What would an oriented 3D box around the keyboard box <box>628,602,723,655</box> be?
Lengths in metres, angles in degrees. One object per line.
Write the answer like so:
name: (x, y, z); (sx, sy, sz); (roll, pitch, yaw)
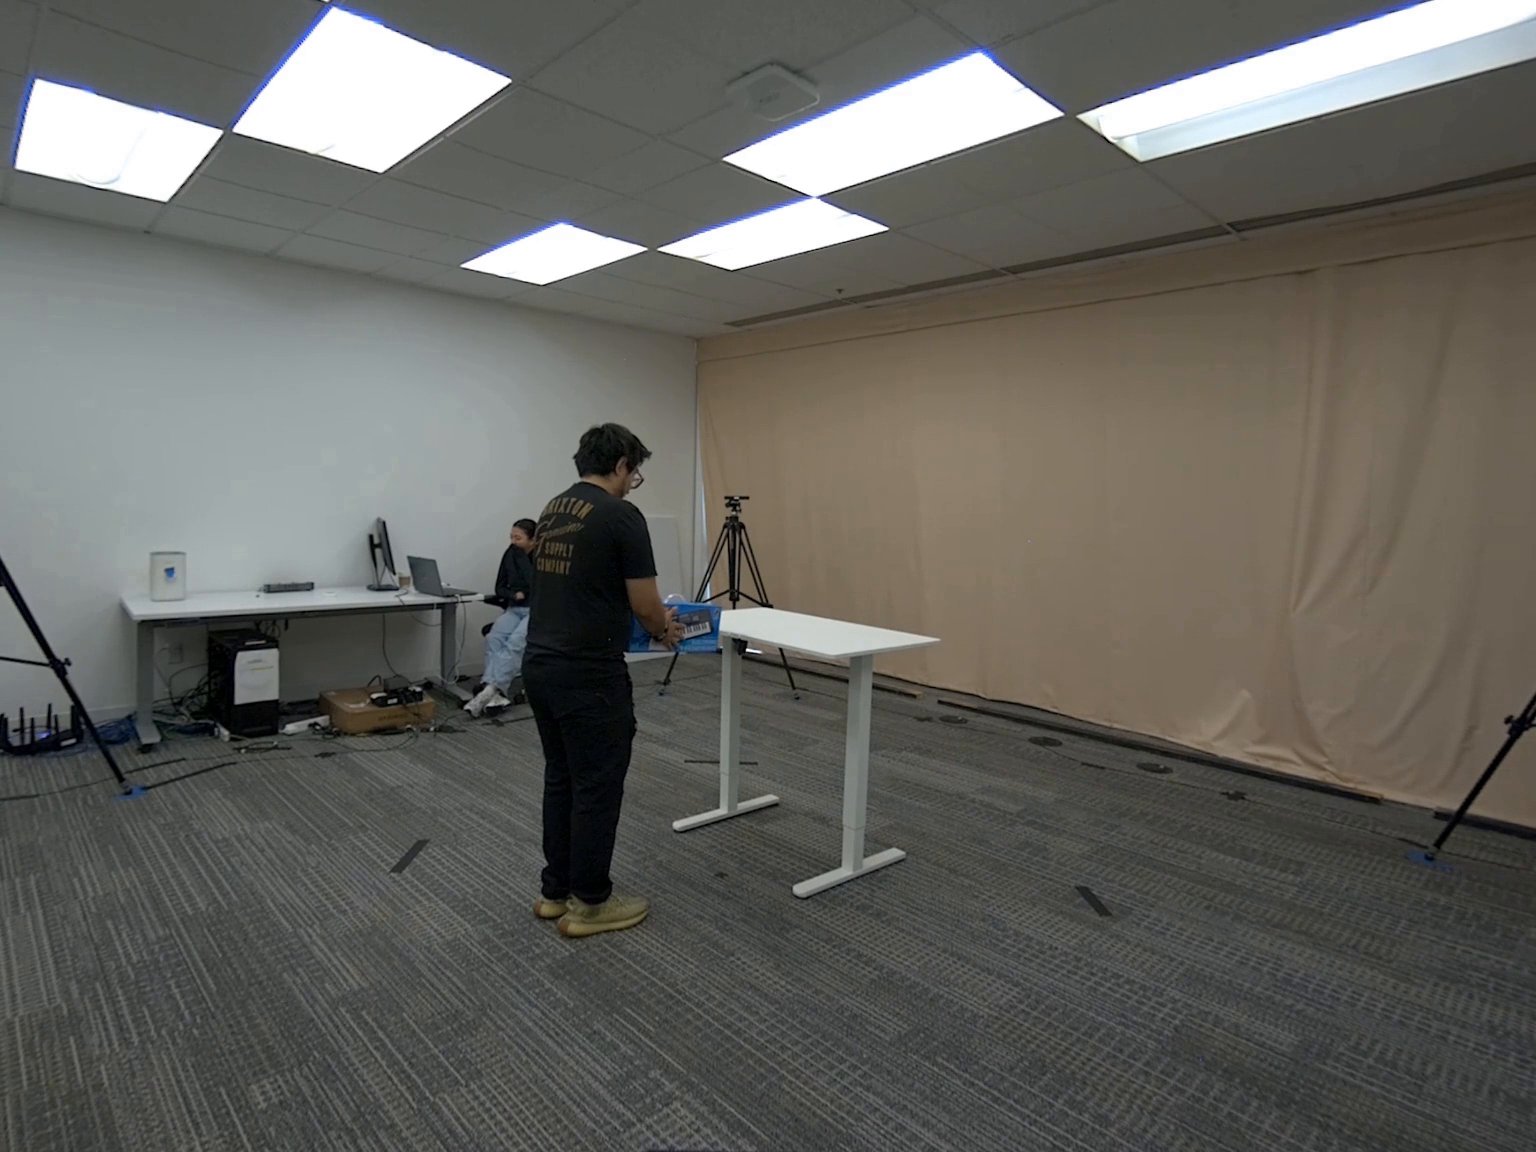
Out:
keyboard box: (-0.346, 0.185, 2.994); (0.061, 0.176, 0.426); (8, 2, 41)
